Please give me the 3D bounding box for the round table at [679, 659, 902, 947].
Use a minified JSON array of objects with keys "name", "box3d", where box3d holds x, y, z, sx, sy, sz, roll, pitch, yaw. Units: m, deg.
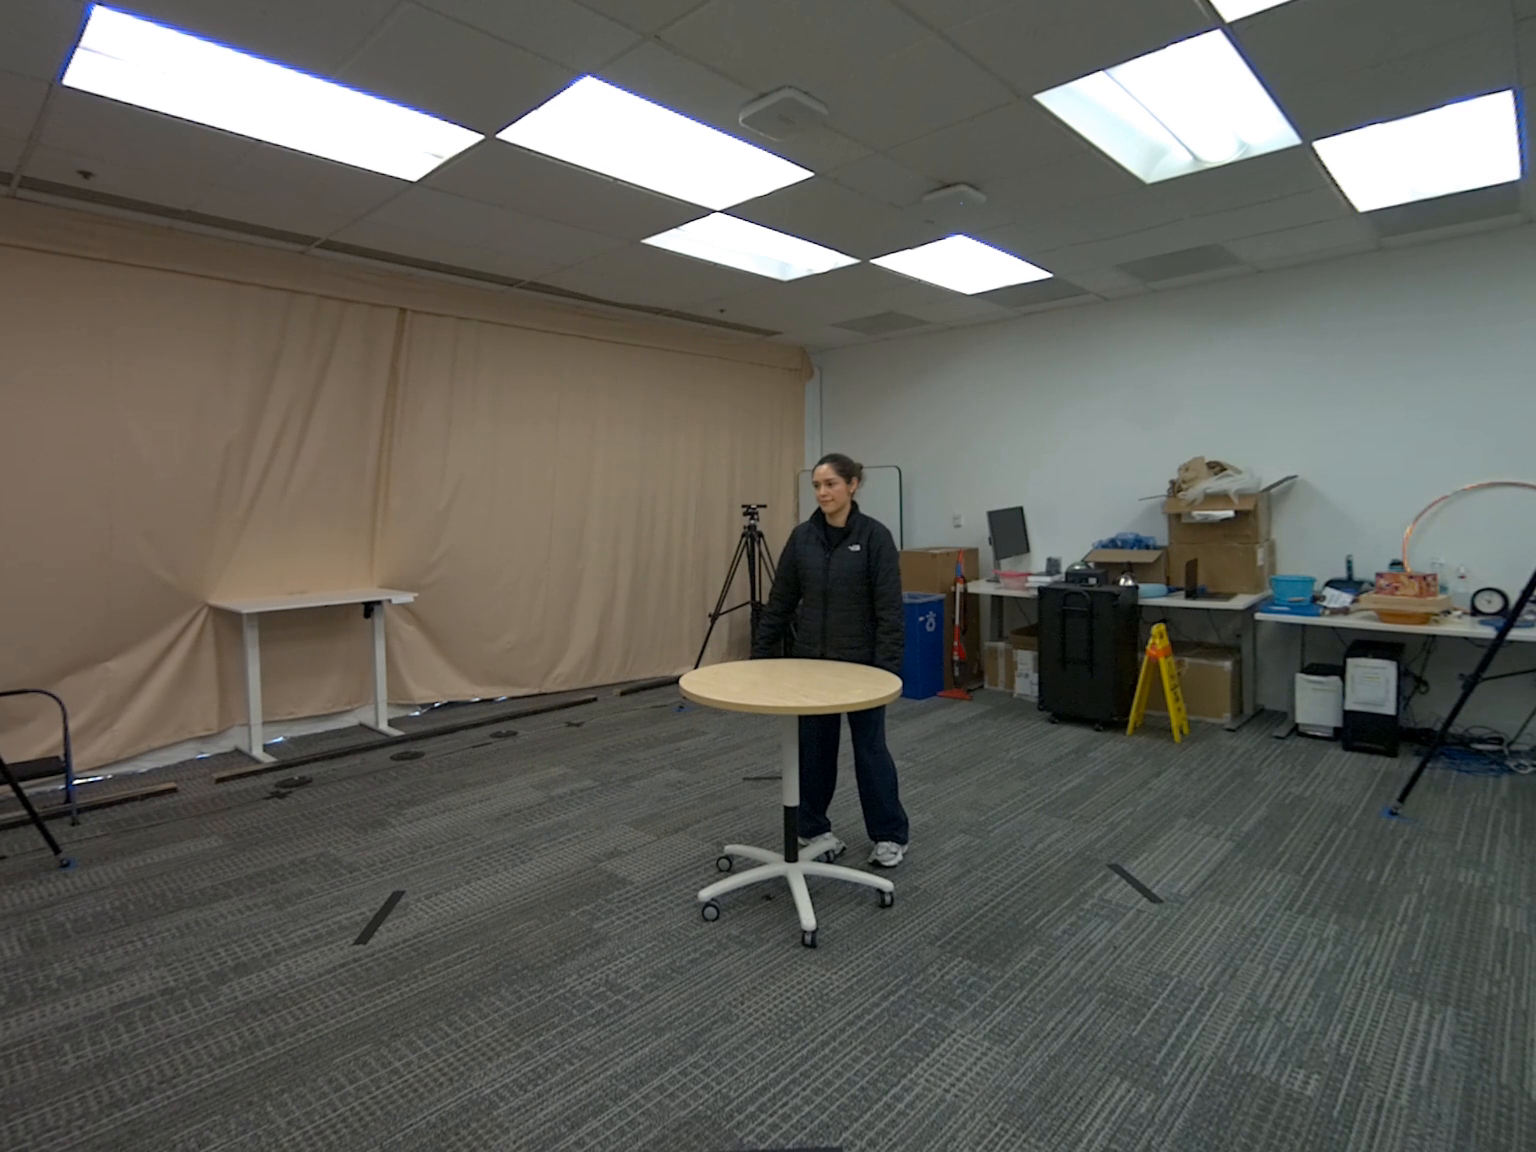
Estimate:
[{"name":"round table","box3d":[0.099,0.748,2.938,0.784,0.784,0.788,-1,4,-2]}]
